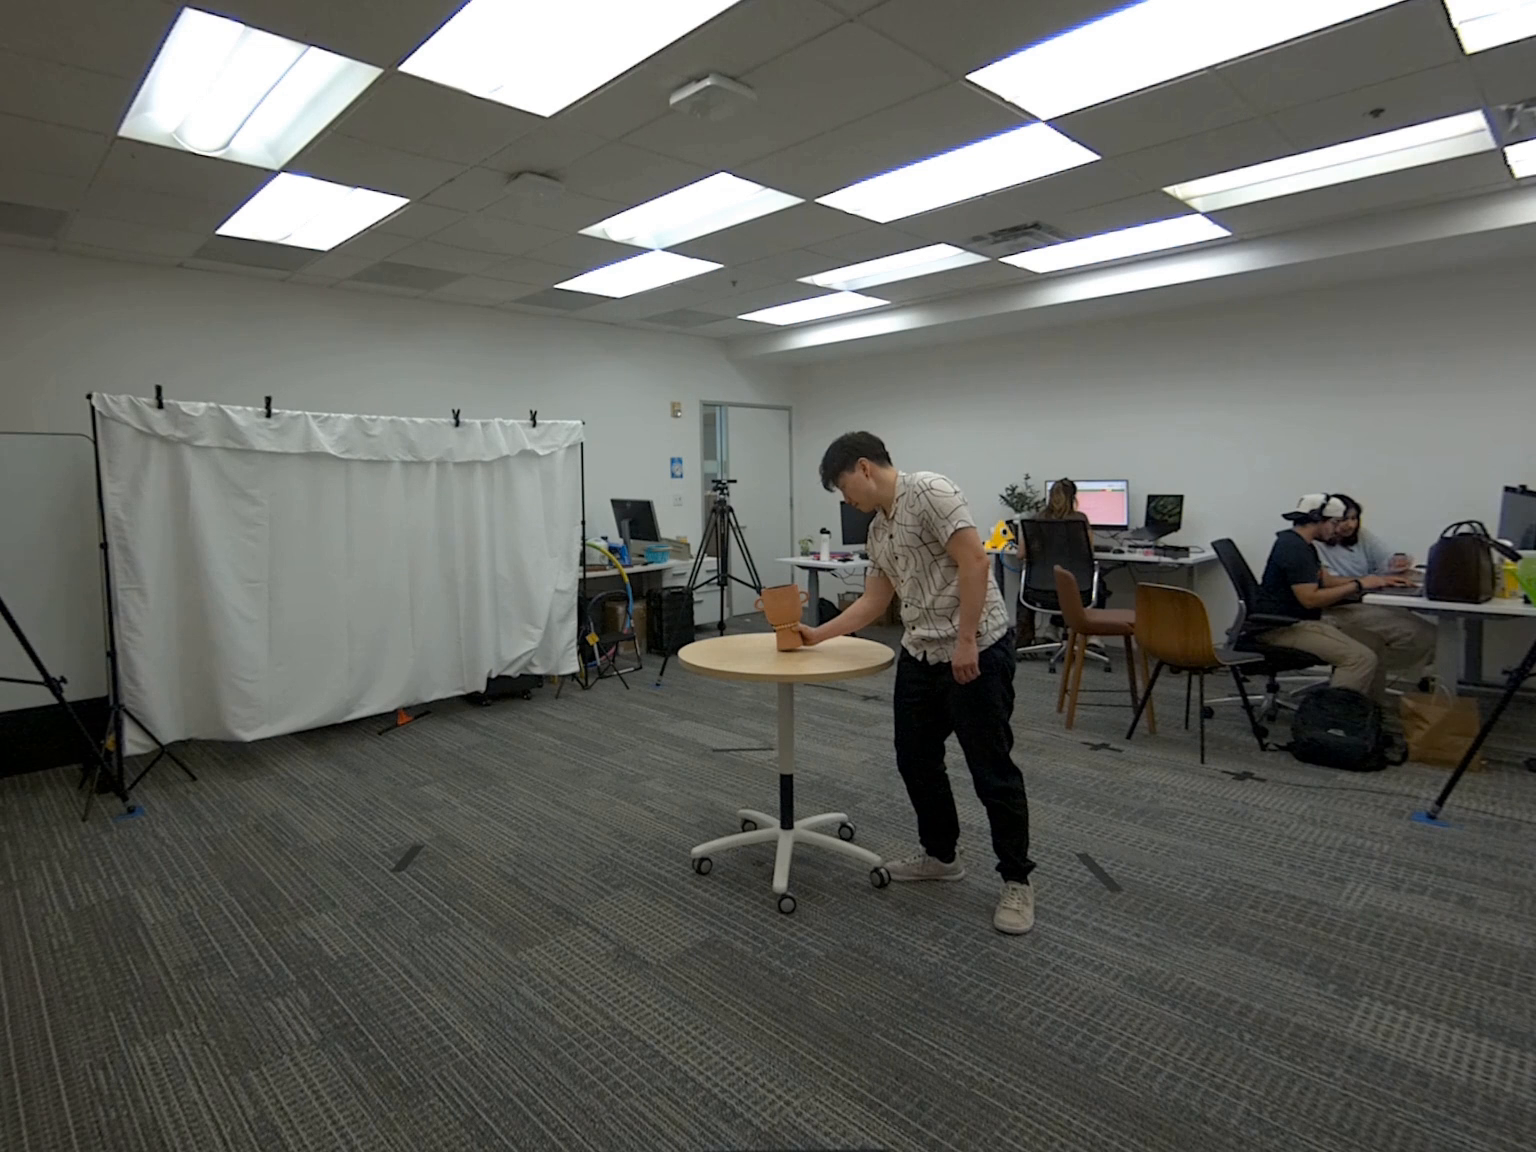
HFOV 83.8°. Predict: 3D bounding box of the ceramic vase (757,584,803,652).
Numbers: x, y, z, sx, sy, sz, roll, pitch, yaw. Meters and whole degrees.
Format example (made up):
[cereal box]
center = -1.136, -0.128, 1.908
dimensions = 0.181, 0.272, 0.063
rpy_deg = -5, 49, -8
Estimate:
[ceramic vase]
center = 0.064, 0.148, 3.066
dimensions = 0.163, 0.220, 0.131
rpy_deg = -9, 1, 40
